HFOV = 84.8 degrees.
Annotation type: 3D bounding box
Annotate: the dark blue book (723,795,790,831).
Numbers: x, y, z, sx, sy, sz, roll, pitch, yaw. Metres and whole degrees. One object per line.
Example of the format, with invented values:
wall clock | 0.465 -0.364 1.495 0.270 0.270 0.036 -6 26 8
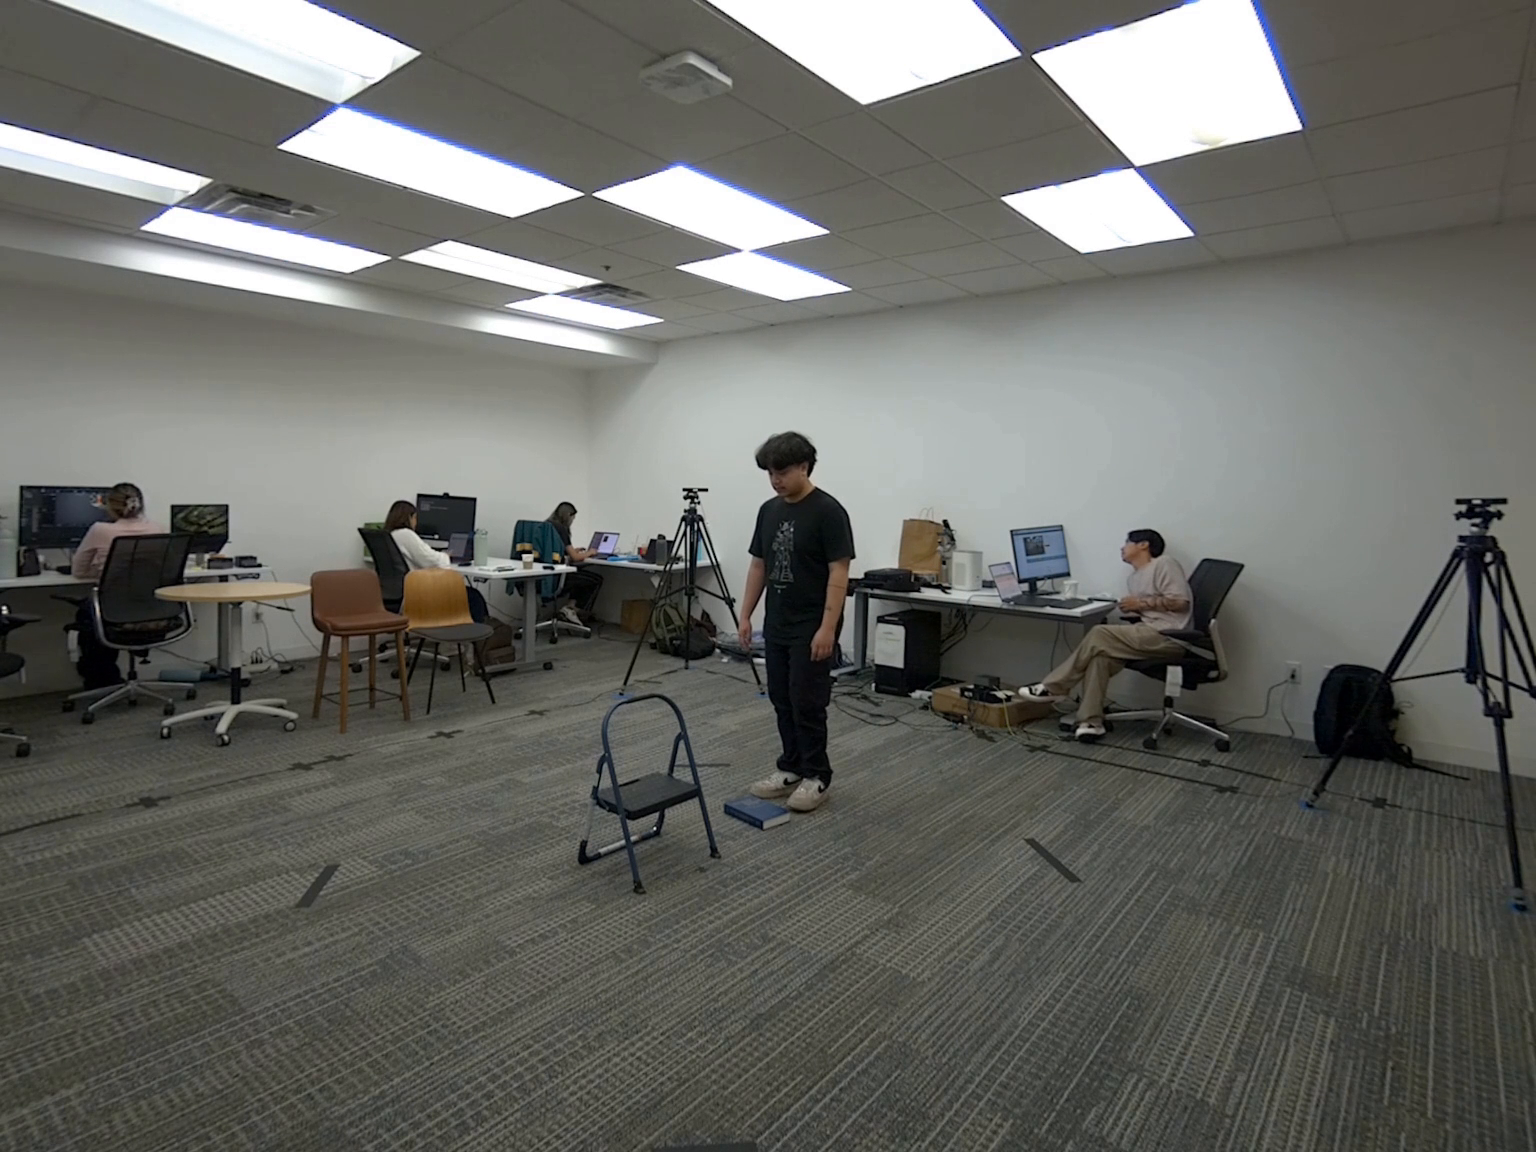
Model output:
dark blue book | -0.054 1.003 3.620 0.158 0.045 0.253 -3 7 -43
